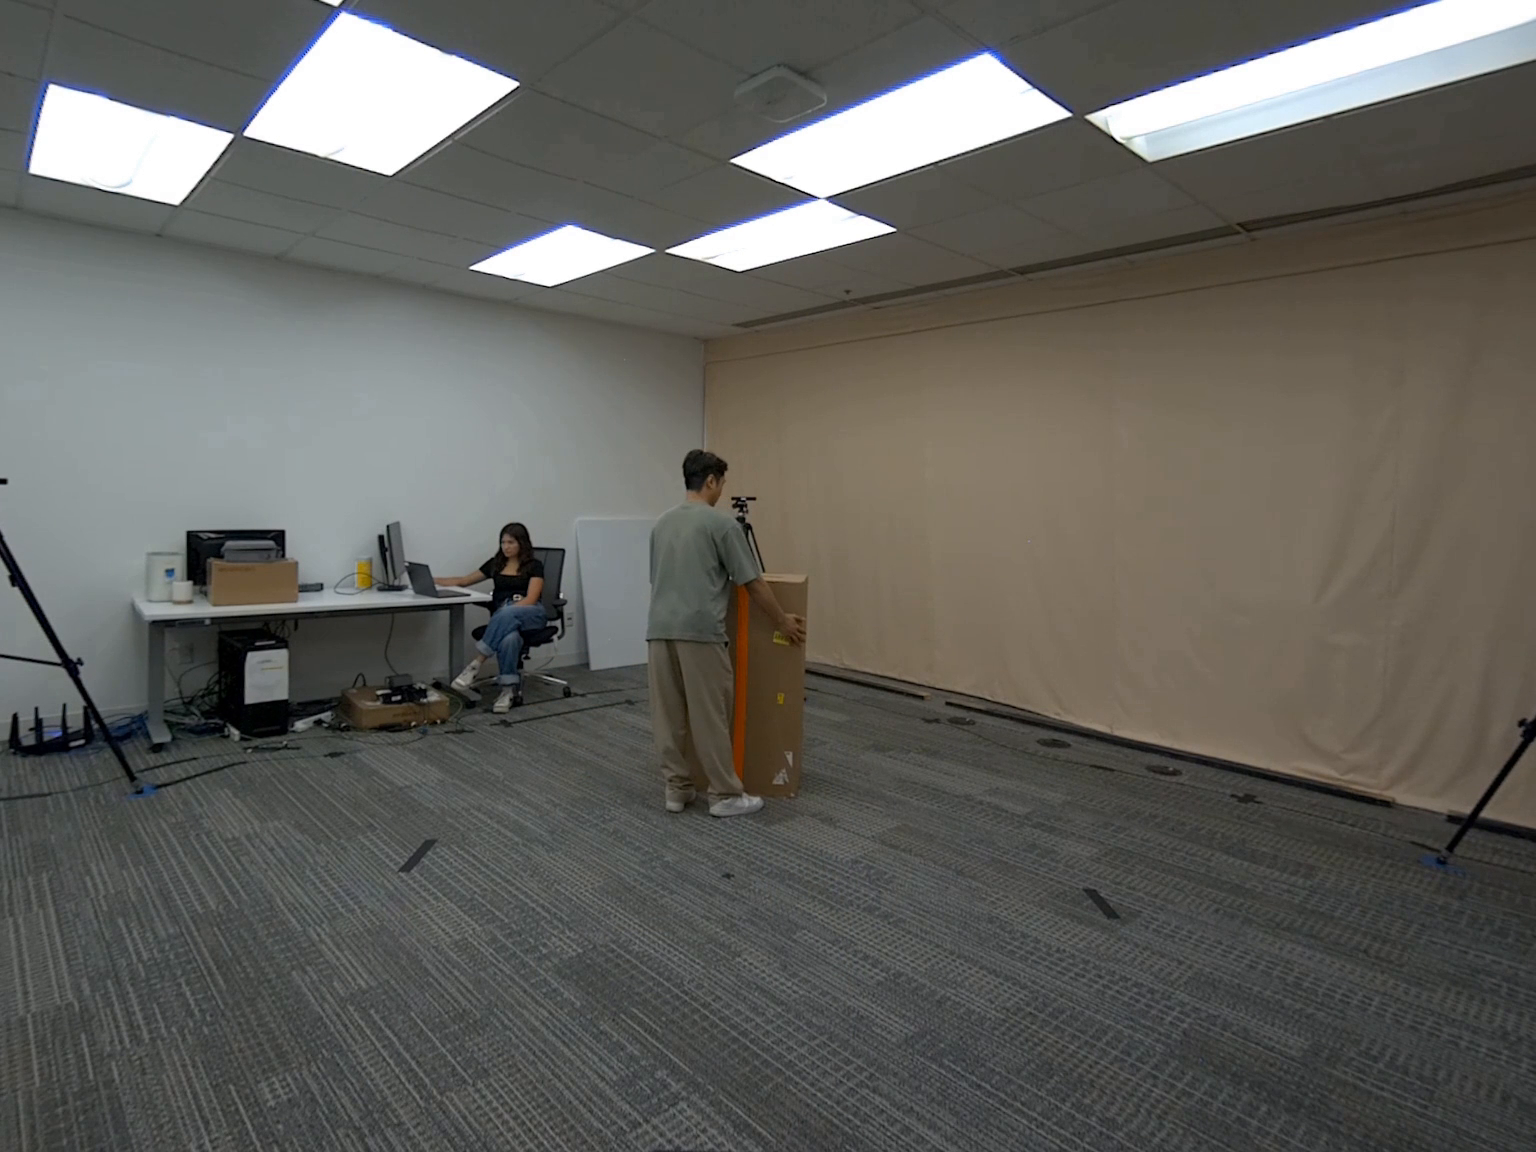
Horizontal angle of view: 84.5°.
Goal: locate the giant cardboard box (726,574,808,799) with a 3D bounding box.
[{"bbox_3d":[-0.129,0.509,4.172,0.581,1.023,0.425,2,3,6],"label":"giant cardboard box"}]
